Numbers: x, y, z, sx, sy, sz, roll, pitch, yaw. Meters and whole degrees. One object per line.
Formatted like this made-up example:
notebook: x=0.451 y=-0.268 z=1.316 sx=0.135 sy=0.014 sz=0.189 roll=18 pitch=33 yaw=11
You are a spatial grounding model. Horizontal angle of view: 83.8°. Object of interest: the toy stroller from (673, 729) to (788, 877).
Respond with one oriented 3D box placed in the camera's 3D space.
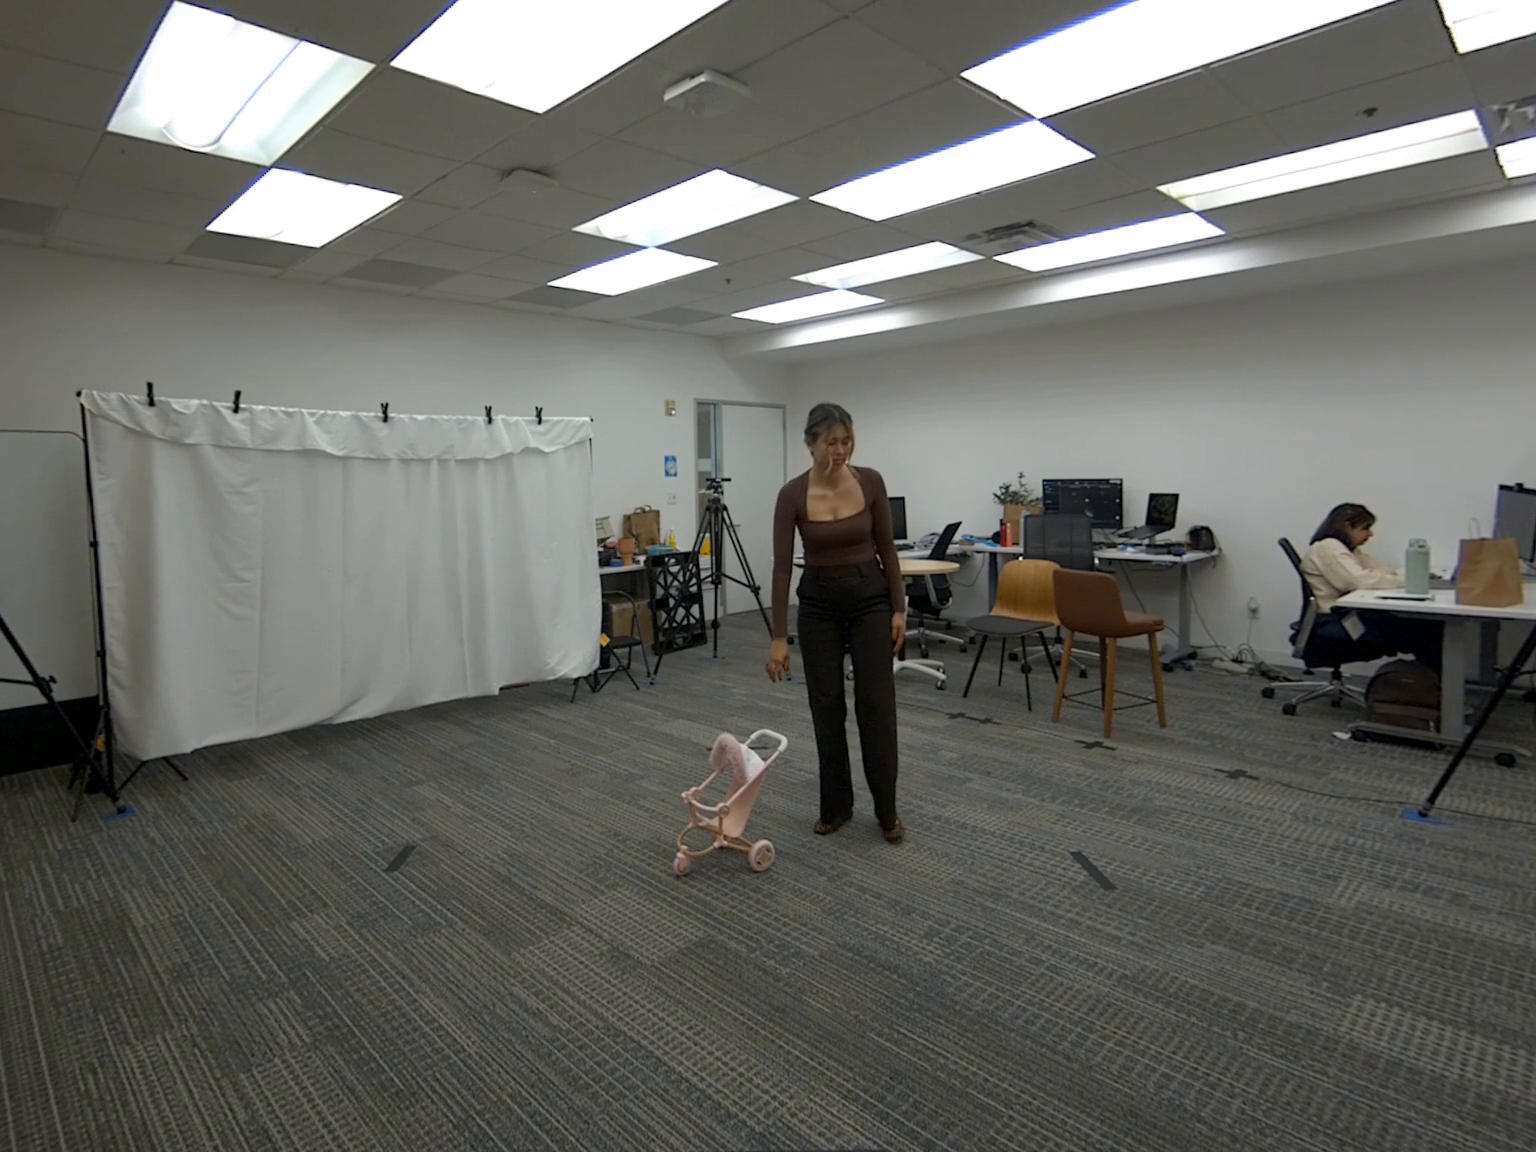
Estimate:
toy stroller: x=-0.150 y=0.816 z=3.101 sx=0.331 sy=0.536 sz=0.289 roll=14 pitch=-3 yaw=-29
